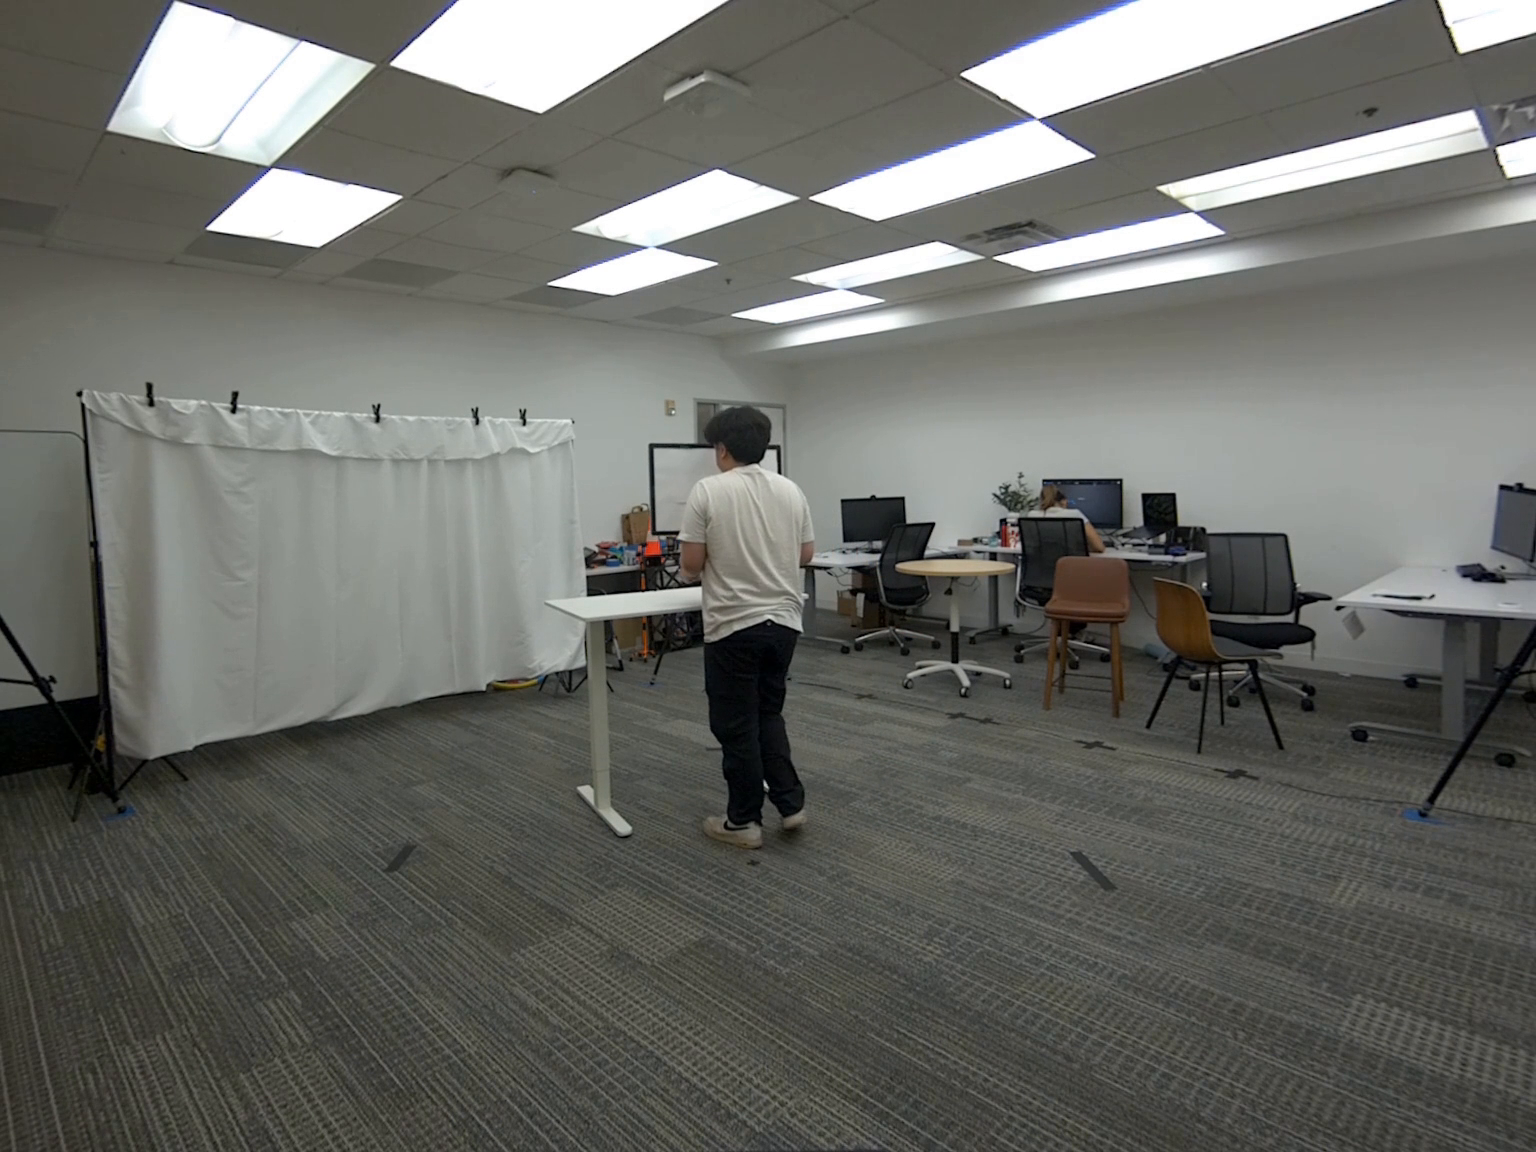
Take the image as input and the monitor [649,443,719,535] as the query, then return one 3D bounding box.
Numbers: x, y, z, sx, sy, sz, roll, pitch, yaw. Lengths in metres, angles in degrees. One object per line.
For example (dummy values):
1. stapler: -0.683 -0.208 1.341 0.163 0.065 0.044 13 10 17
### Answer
1. monitor: -0.225 -0.268 3.511 0.555 0.552 0.215 -3 5 -21
